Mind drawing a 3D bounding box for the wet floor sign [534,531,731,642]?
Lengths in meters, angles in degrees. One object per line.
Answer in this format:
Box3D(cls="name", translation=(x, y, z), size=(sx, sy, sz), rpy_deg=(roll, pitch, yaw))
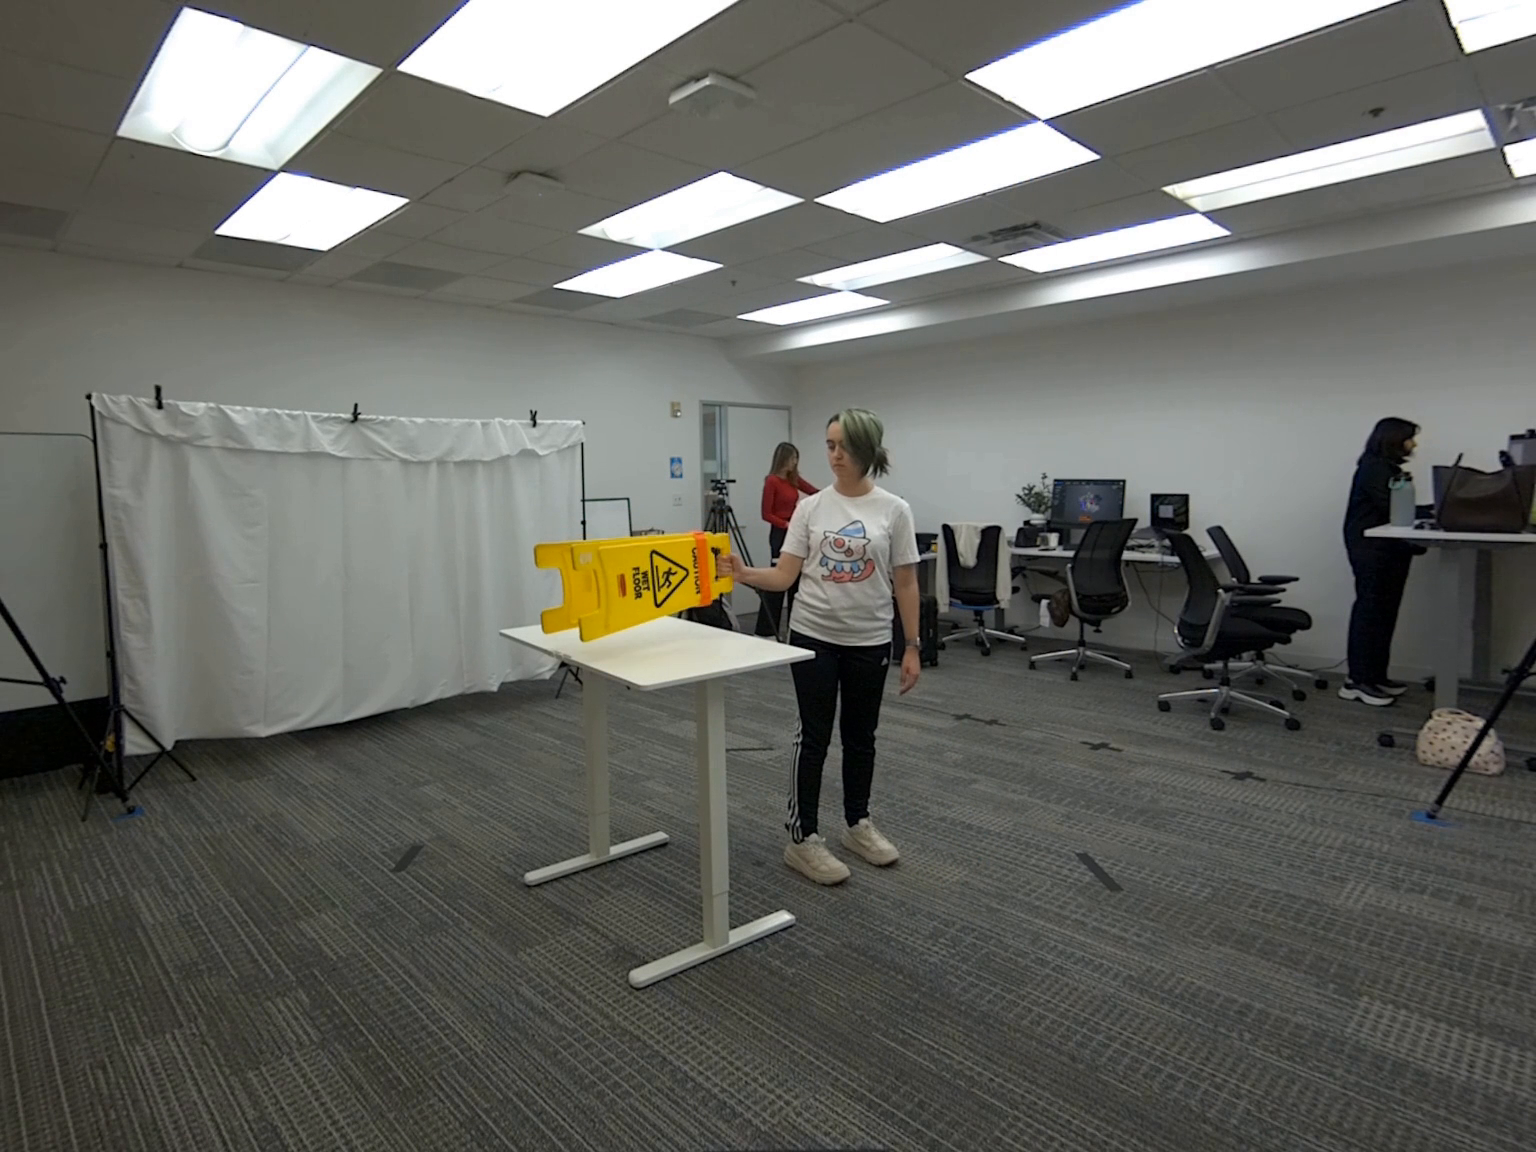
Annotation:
Box3D(cls="wet floor sign", translation=(-0.369, 0.002, 2.689), size=(0.631, 0.281, 0.298), rpy_deg=(-11, 8, -38))
